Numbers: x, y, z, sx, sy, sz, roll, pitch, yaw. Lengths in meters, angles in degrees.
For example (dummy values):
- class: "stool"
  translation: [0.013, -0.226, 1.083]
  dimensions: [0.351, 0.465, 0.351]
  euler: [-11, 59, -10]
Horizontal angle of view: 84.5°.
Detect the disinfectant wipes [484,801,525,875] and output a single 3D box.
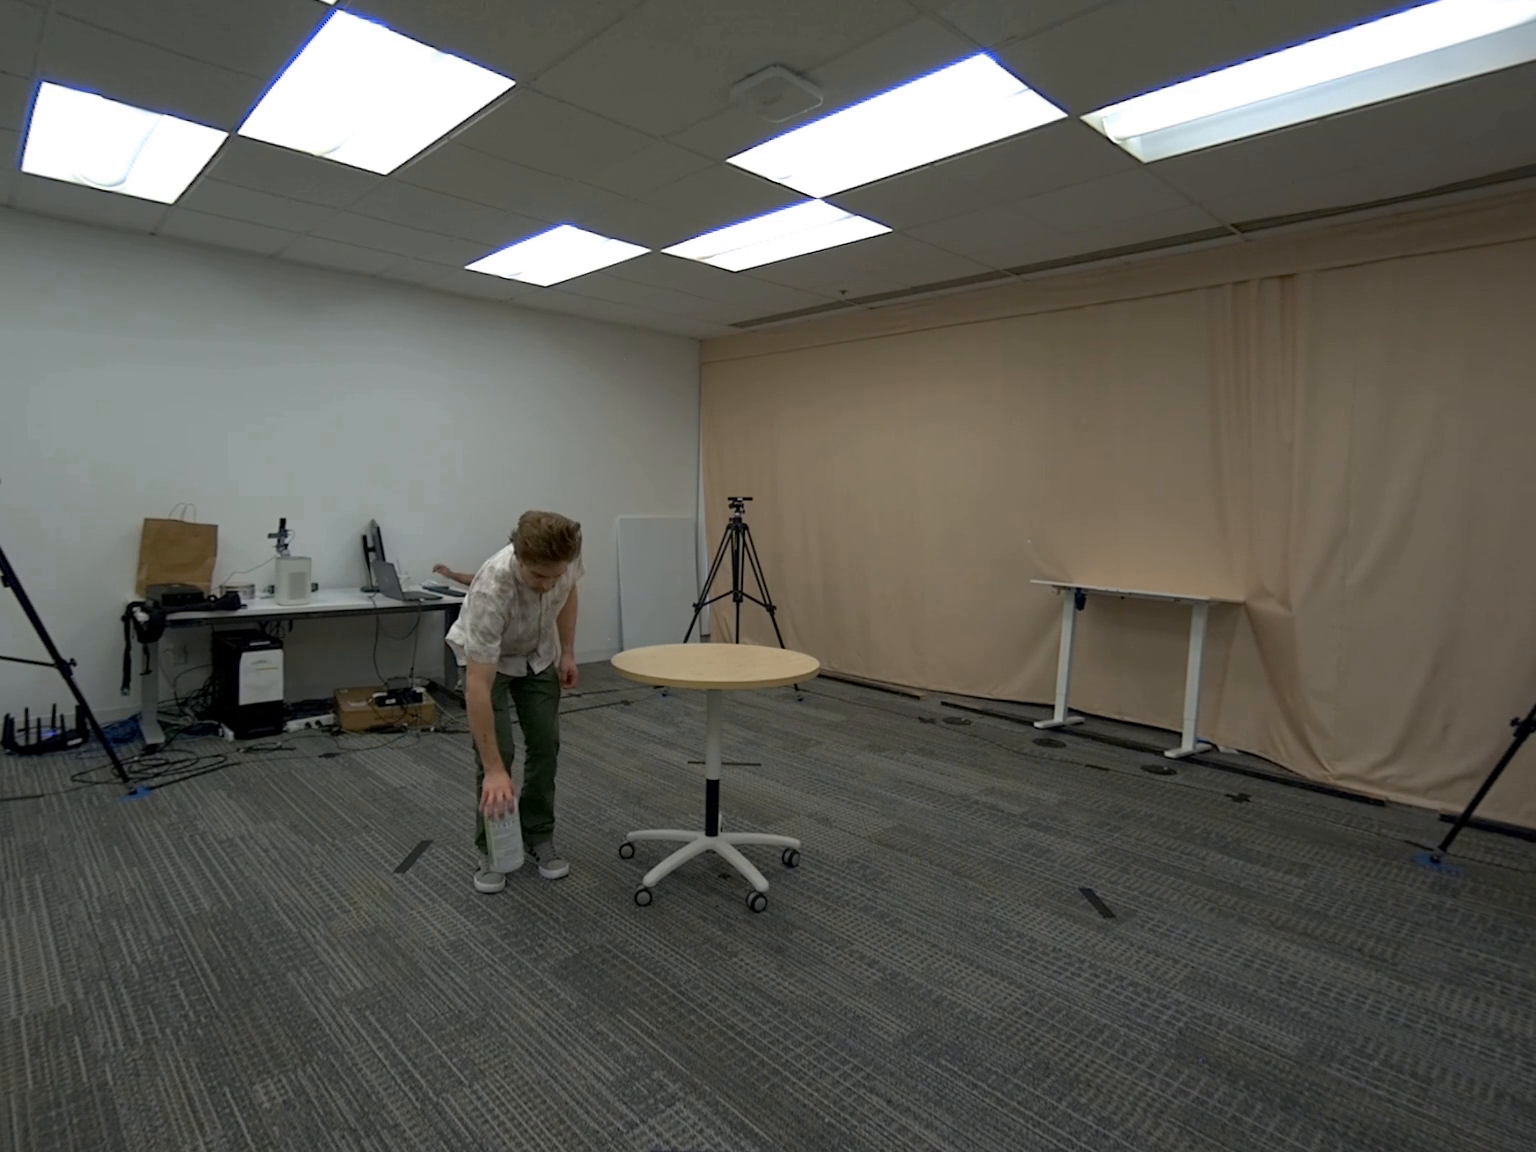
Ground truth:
- class: "disinfectant wipes"
  translation: [-0.850, 0.825, 2.678]
  dimensions: [0.118, 0.216, 0.118]
  euler: [-3, 5, -1]
